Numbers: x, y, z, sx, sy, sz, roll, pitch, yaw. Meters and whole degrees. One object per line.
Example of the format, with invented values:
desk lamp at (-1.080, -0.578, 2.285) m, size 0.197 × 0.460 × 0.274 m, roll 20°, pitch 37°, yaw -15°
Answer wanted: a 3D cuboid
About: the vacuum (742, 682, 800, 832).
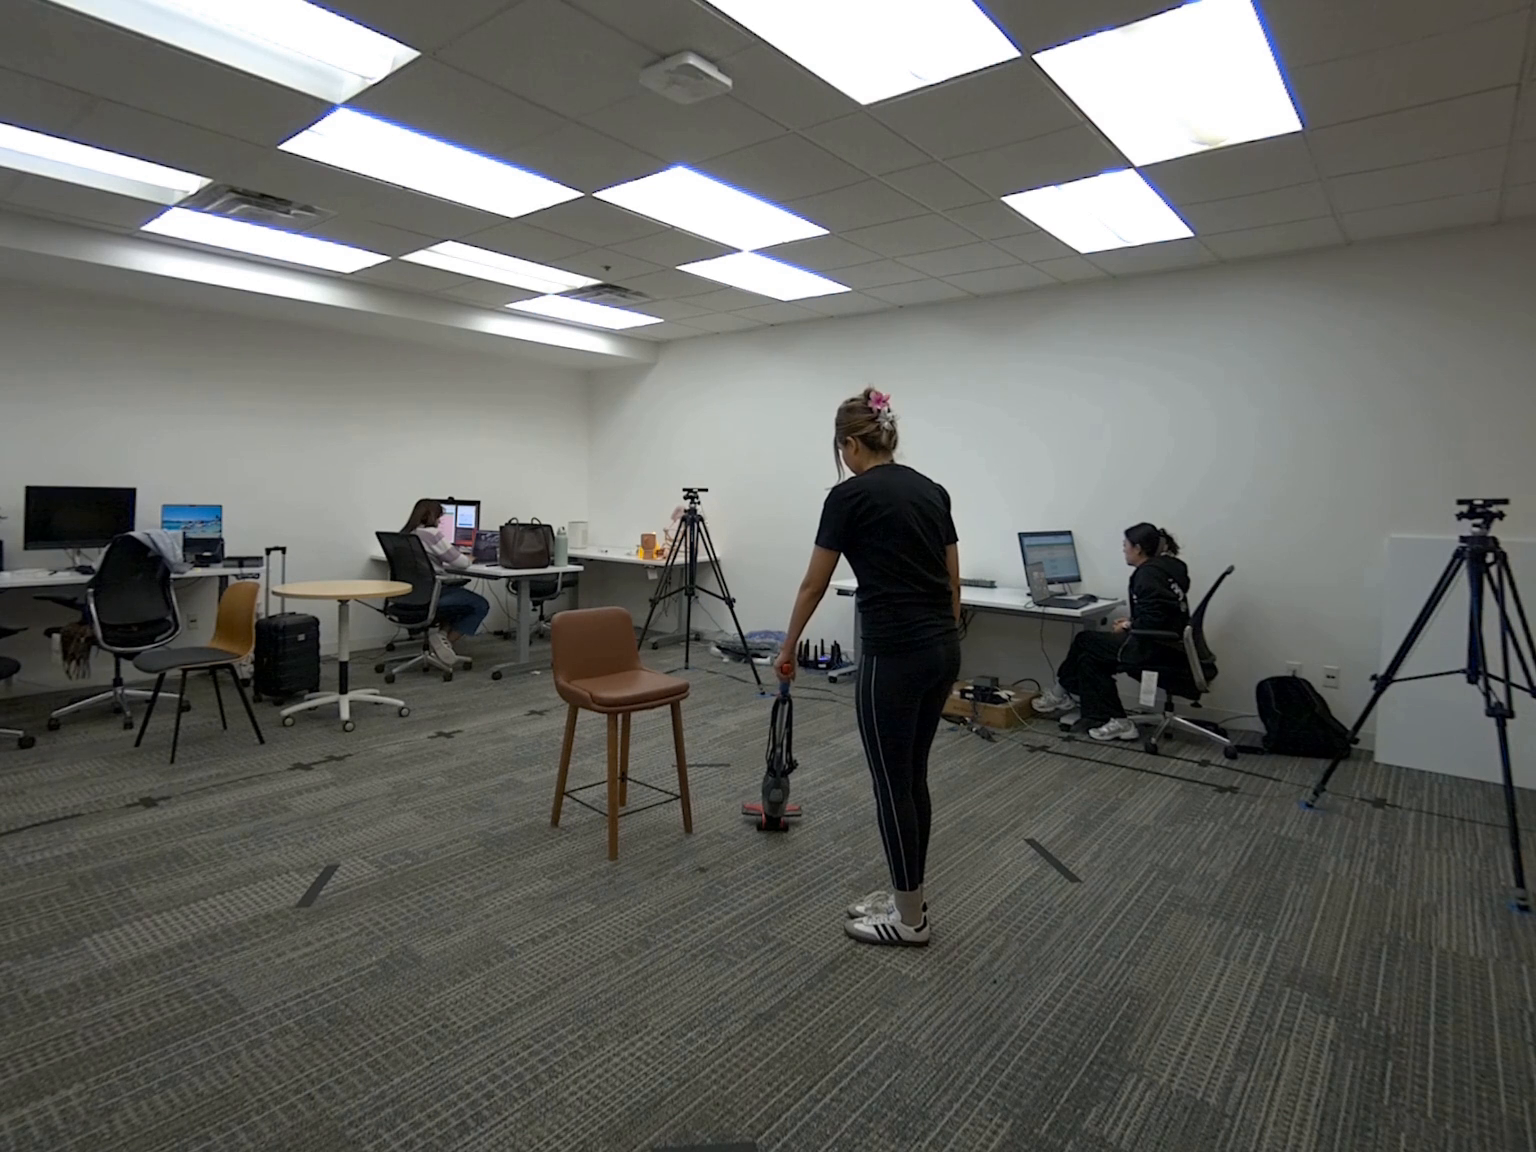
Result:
vacuum at (0.024, 0.661, 3.162) m, size 0.253 × 1.019 × 0.148 m, roll 2°, pitch 47°, yaw 1°
